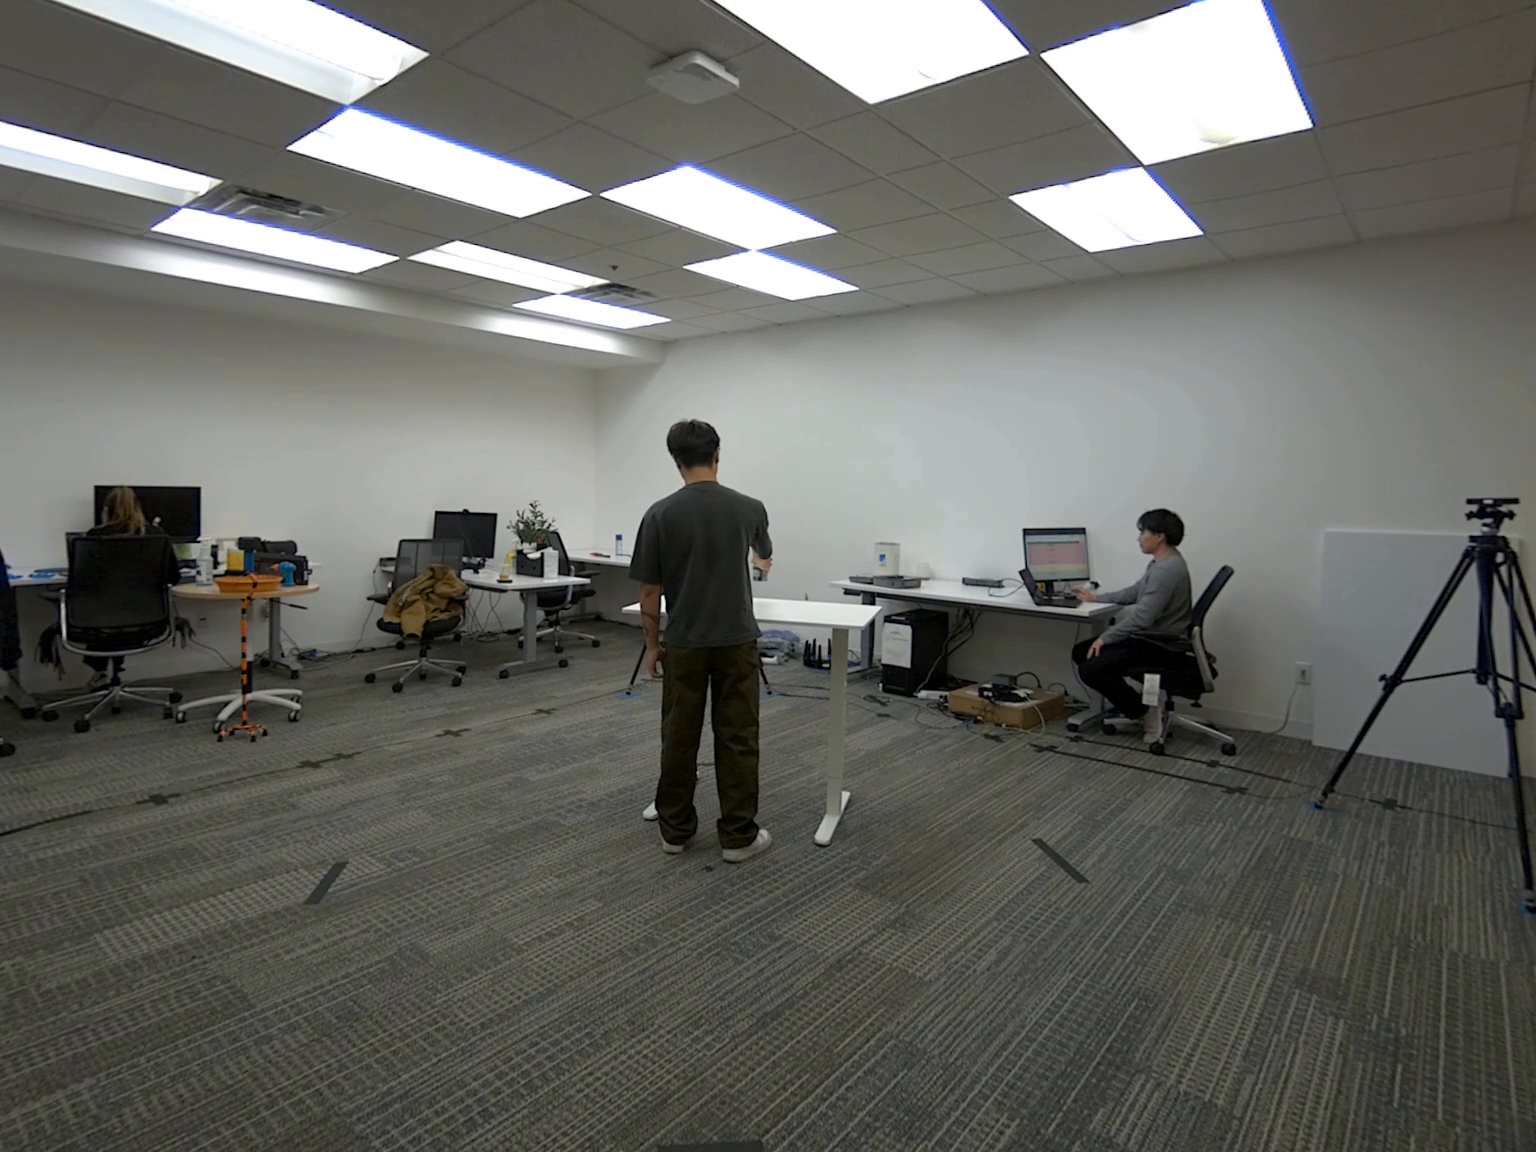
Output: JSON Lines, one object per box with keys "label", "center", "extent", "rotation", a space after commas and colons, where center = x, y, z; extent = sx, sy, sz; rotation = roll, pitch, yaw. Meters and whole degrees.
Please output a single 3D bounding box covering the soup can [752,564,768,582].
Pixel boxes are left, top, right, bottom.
{"label": "soup can", "center": [-0.042, -0.043, 3.867], "extent": [0.067, 0.121, 0.067], "rotation": [-2, 2, -2]}
